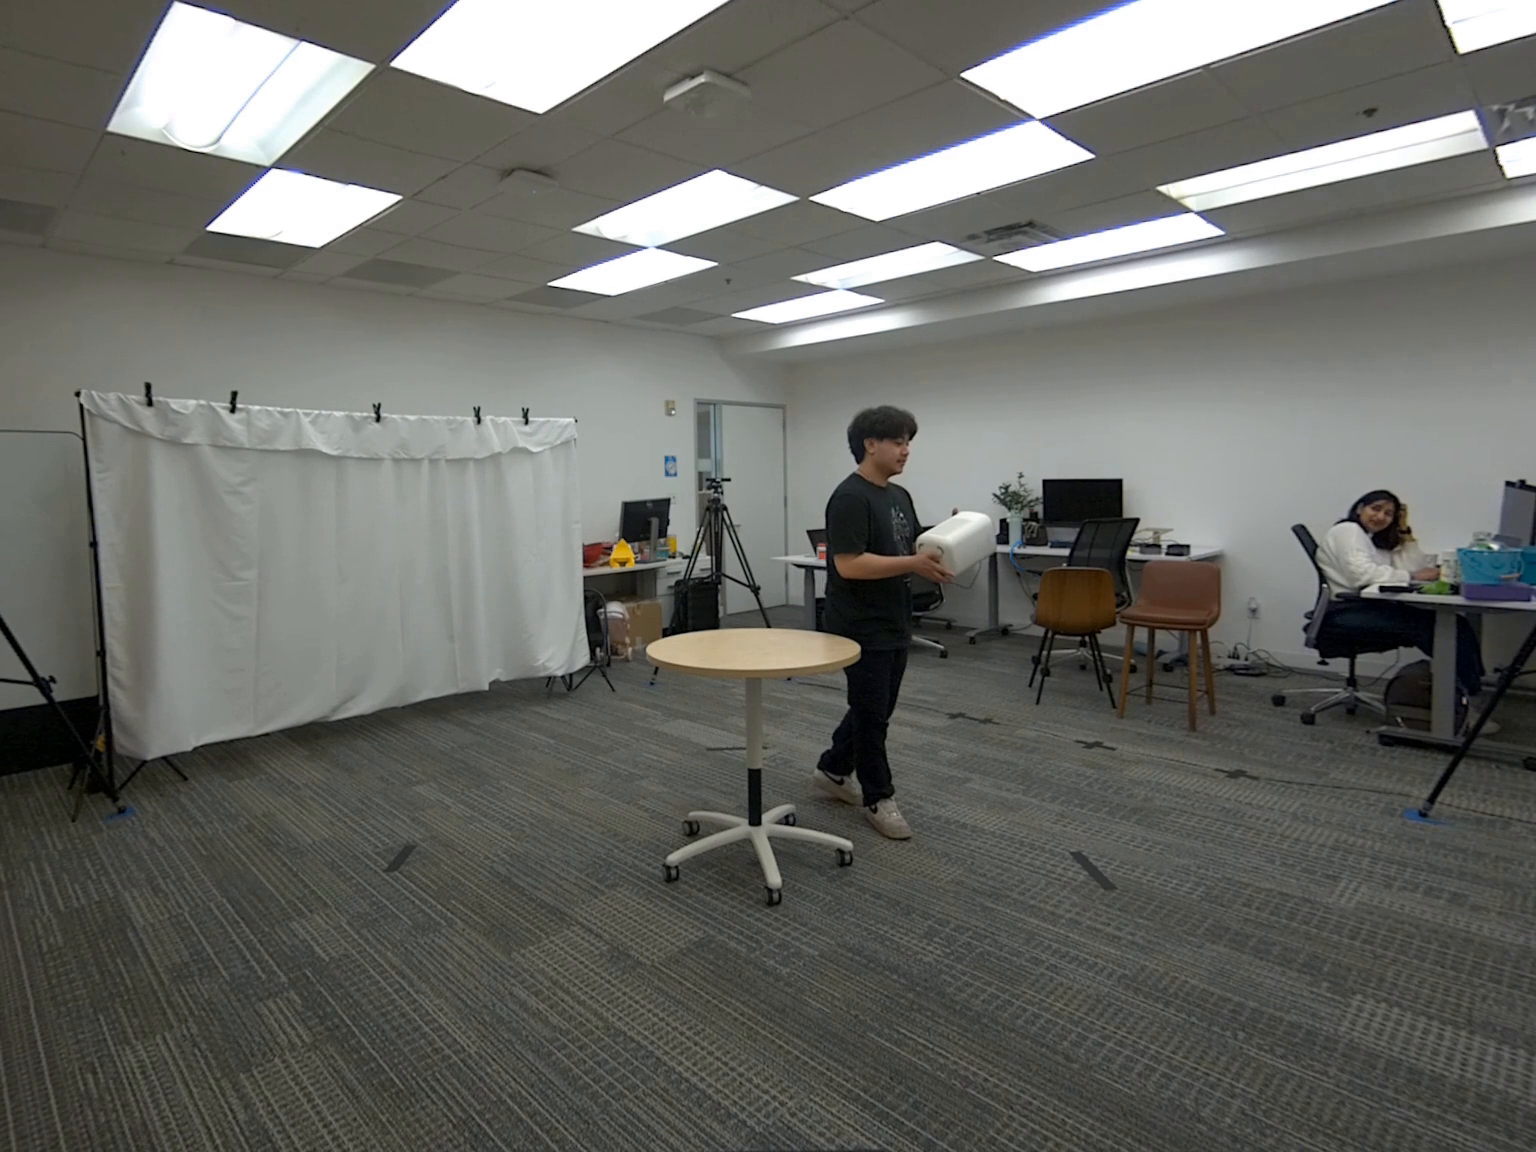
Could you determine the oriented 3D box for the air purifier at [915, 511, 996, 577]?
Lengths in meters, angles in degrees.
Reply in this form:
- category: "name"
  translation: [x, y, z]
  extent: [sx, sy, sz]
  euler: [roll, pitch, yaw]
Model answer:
- category: "air purifier"
  translation: [0.681, -0.109, 3.159]
  extent: [0.262, 0.168, 0.177]
  euler: [-28, 21, -32]
